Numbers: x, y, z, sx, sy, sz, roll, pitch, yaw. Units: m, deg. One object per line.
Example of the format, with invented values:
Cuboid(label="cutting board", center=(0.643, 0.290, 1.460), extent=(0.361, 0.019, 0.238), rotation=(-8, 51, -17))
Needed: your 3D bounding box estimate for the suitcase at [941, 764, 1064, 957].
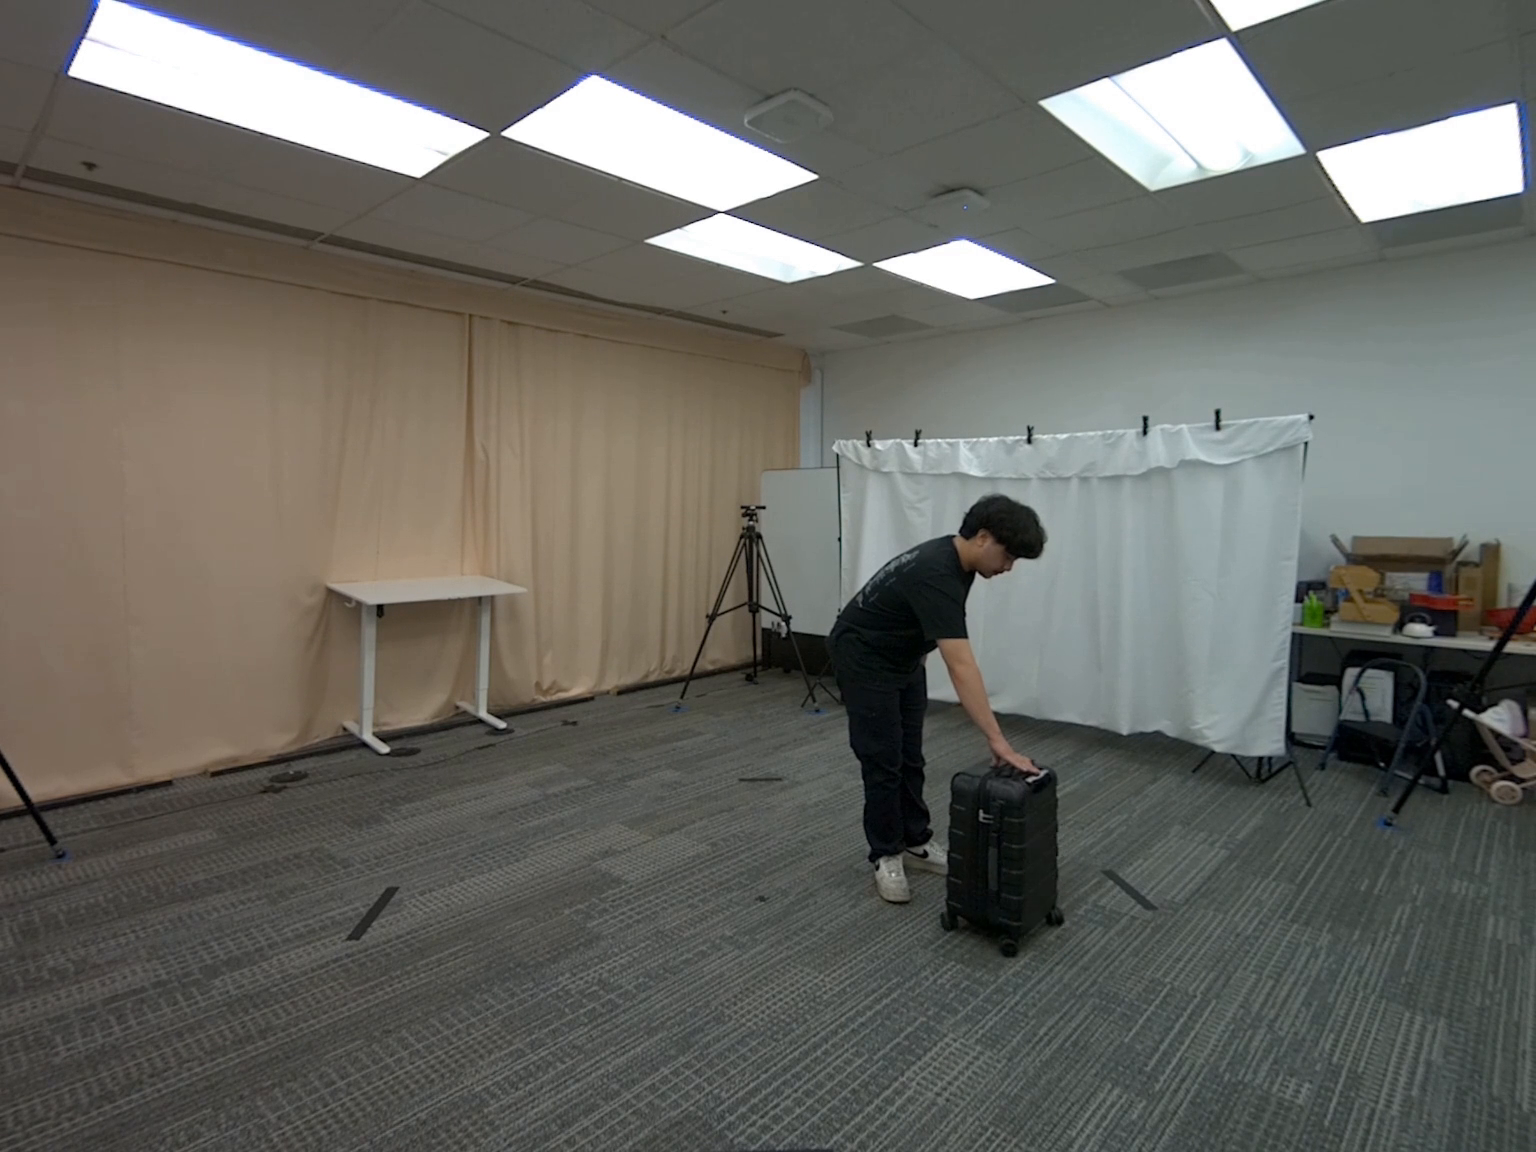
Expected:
Cuboid(label="suitcase", center=(0.786, 0.886, 2.763), extent=(0.256, 0.548, 0.364), rotation=(2, 4, 40))
